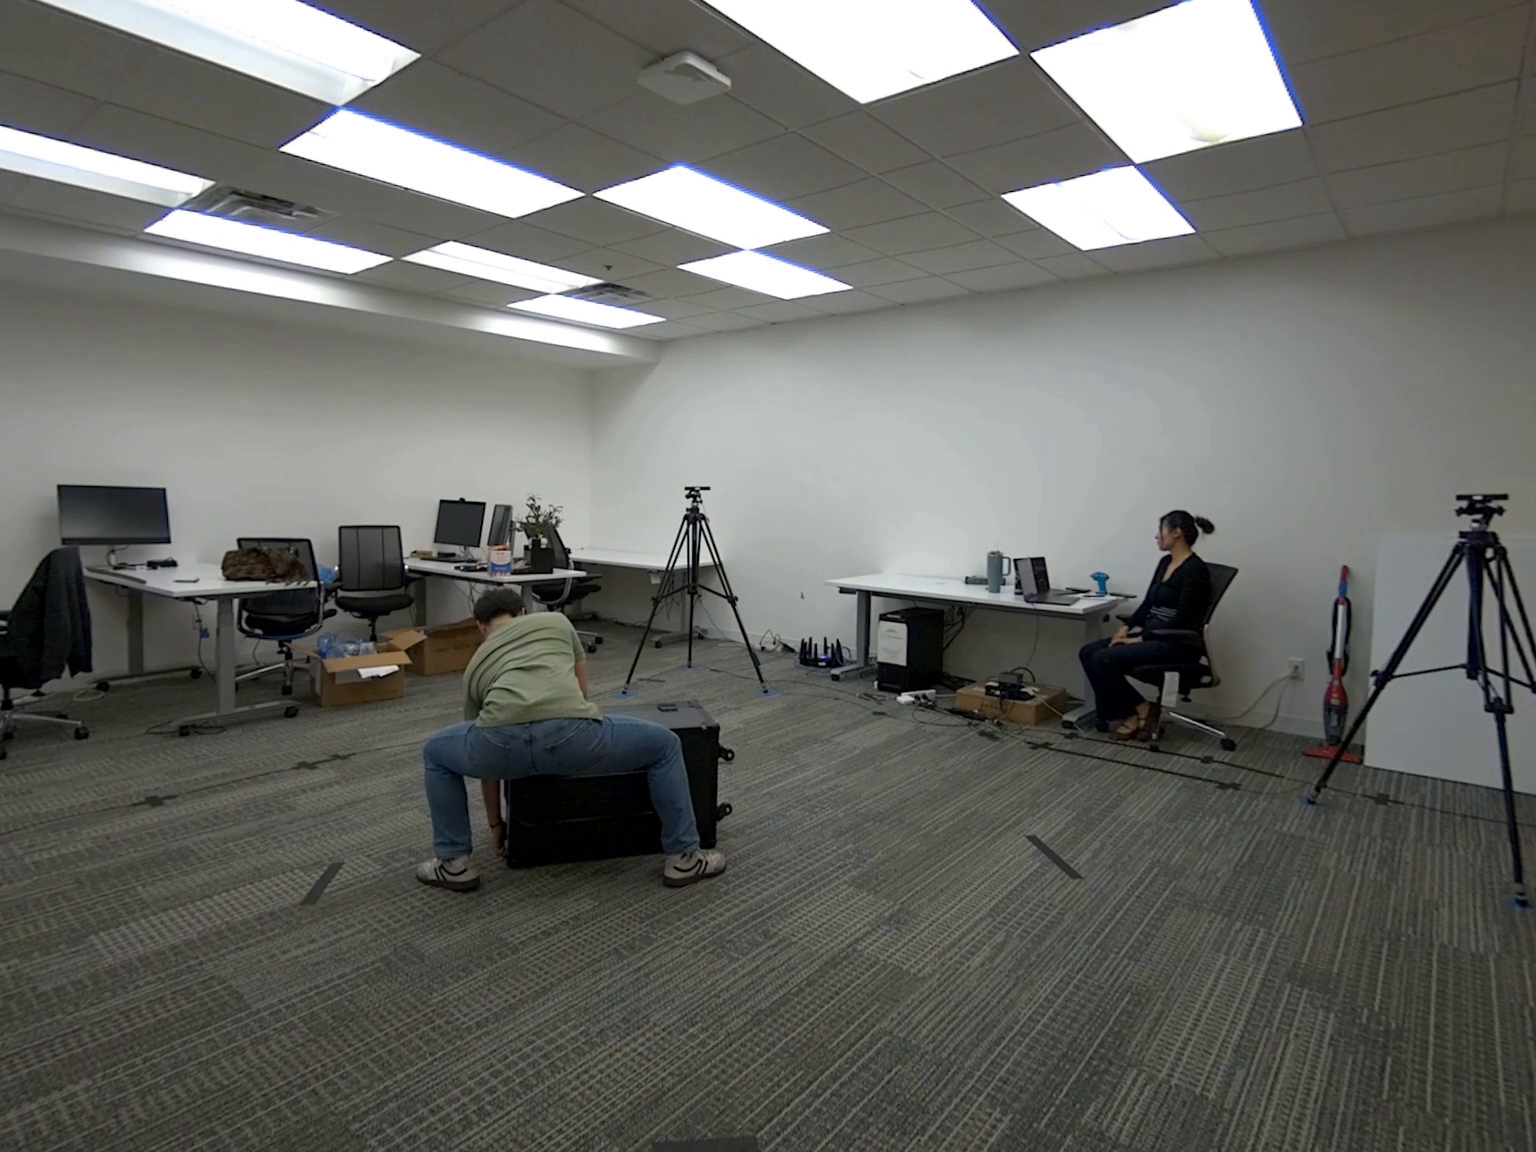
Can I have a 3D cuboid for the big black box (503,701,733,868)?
[{"bbox_3d":[-0.592,0.777,3.323,0.847,0.519,0.405,-1,6,-16],"label":"big black box"}]
